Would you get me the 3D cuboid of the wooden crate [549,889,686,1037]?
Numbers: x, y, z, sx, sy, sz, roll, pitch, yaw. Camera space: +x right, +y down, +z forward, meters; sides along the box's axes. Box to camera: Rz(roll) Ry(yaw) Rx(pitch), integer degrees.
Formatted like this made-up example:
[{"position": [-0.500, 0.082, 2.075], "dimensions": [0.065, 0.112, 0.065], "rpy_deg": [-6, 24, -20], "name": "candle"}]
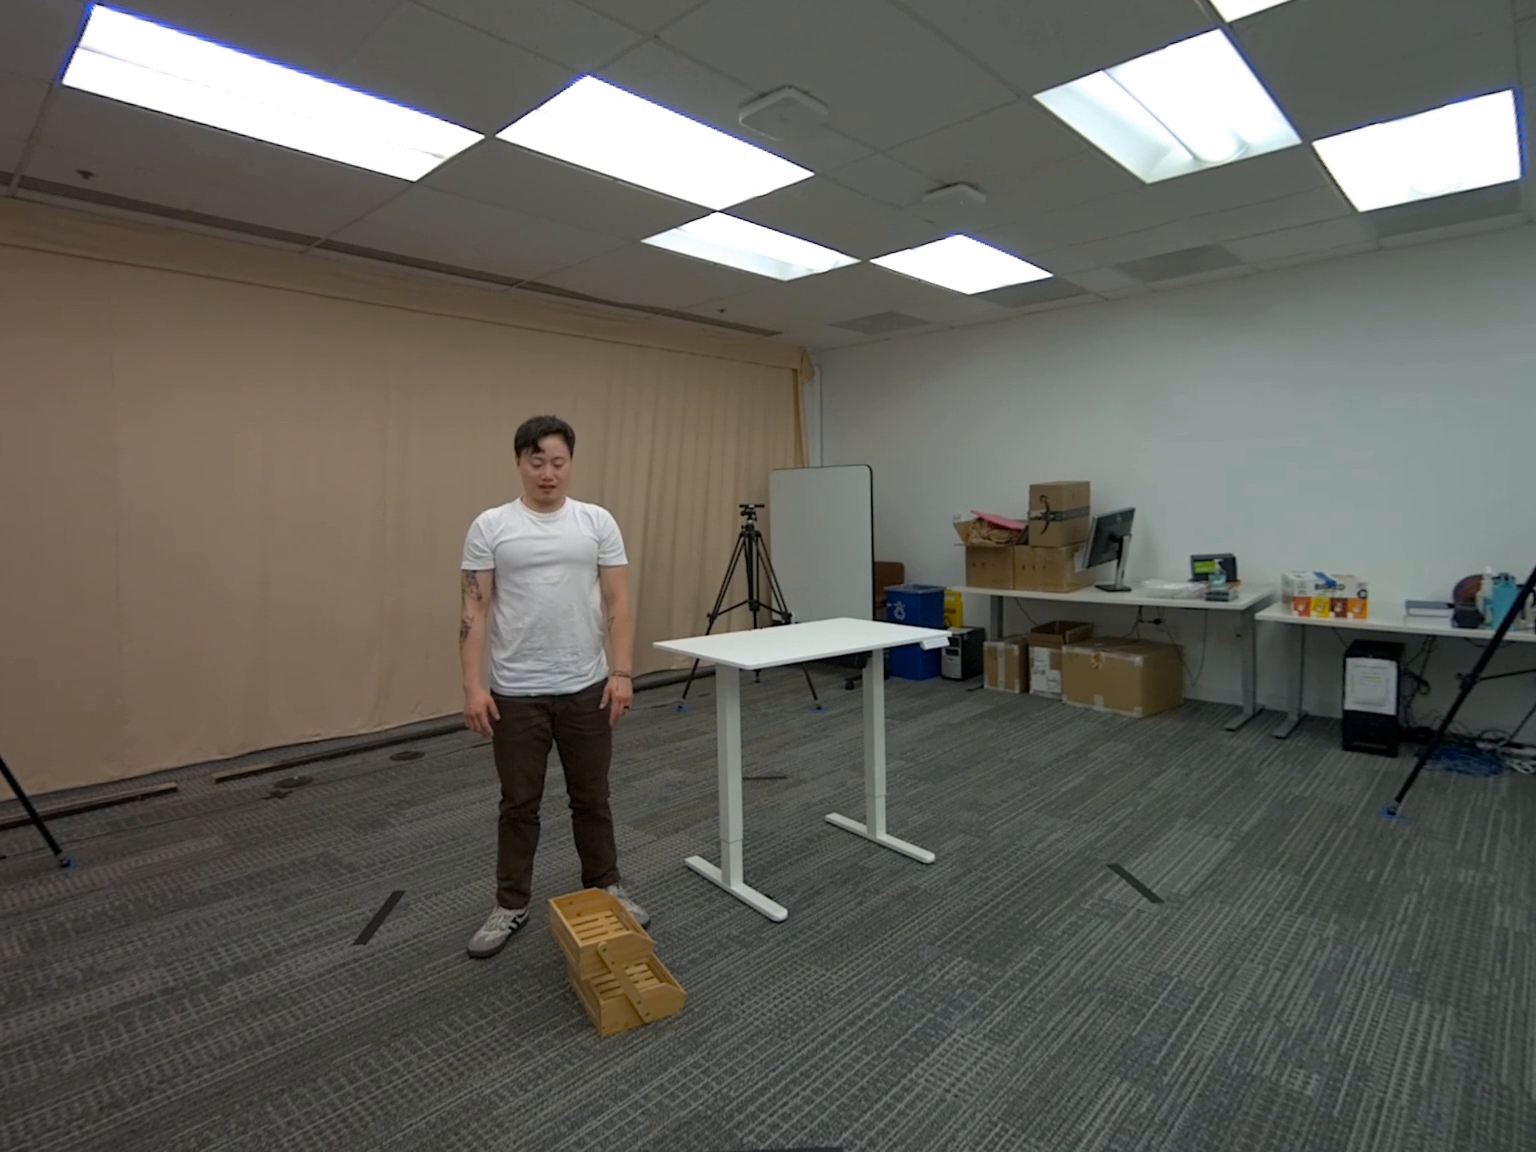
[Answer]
[{"position": [-0.427, 1.066, 2.378], "dimensions": [0.294, 0.273, 0.334], "rpy_deg": [-4, 4, -29], "name": "wooden crate"}]
